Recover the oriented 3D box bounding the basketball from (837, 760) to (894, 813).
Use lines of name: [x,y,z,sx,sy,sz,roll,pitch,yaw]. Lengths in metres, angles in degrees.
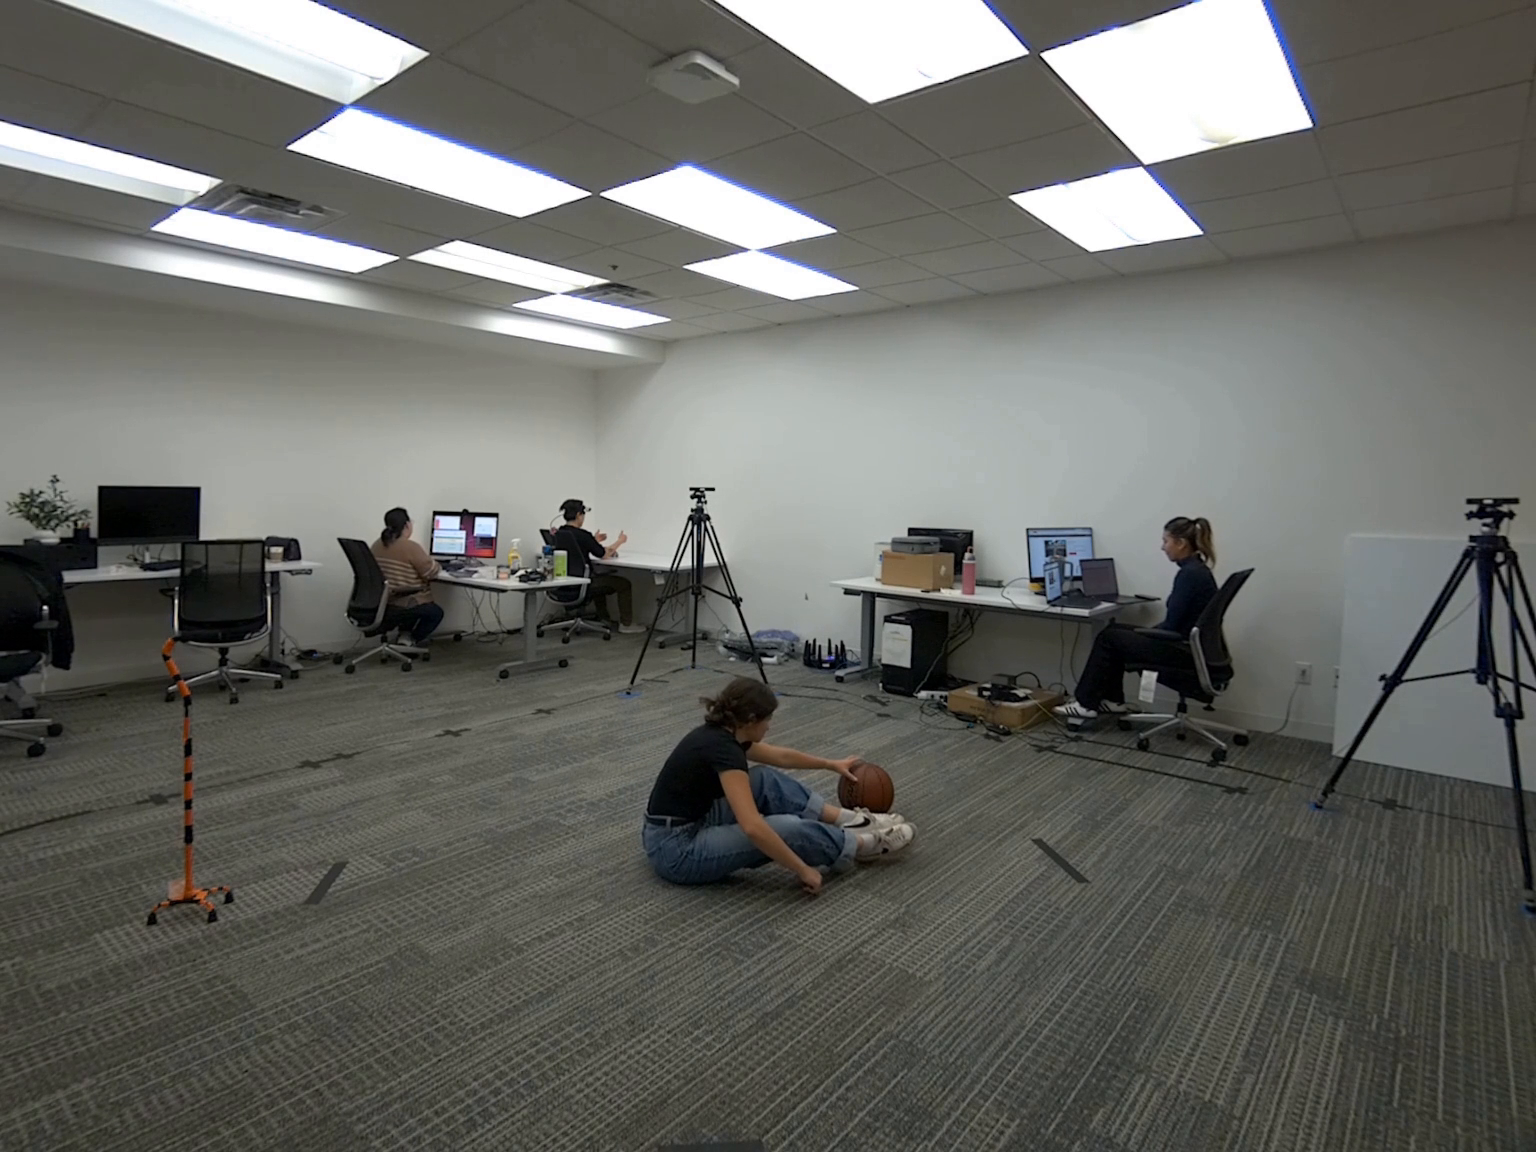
basketball: [0.404,0.904,3.611,0.235,0.235,0.237,1,4,-2]
